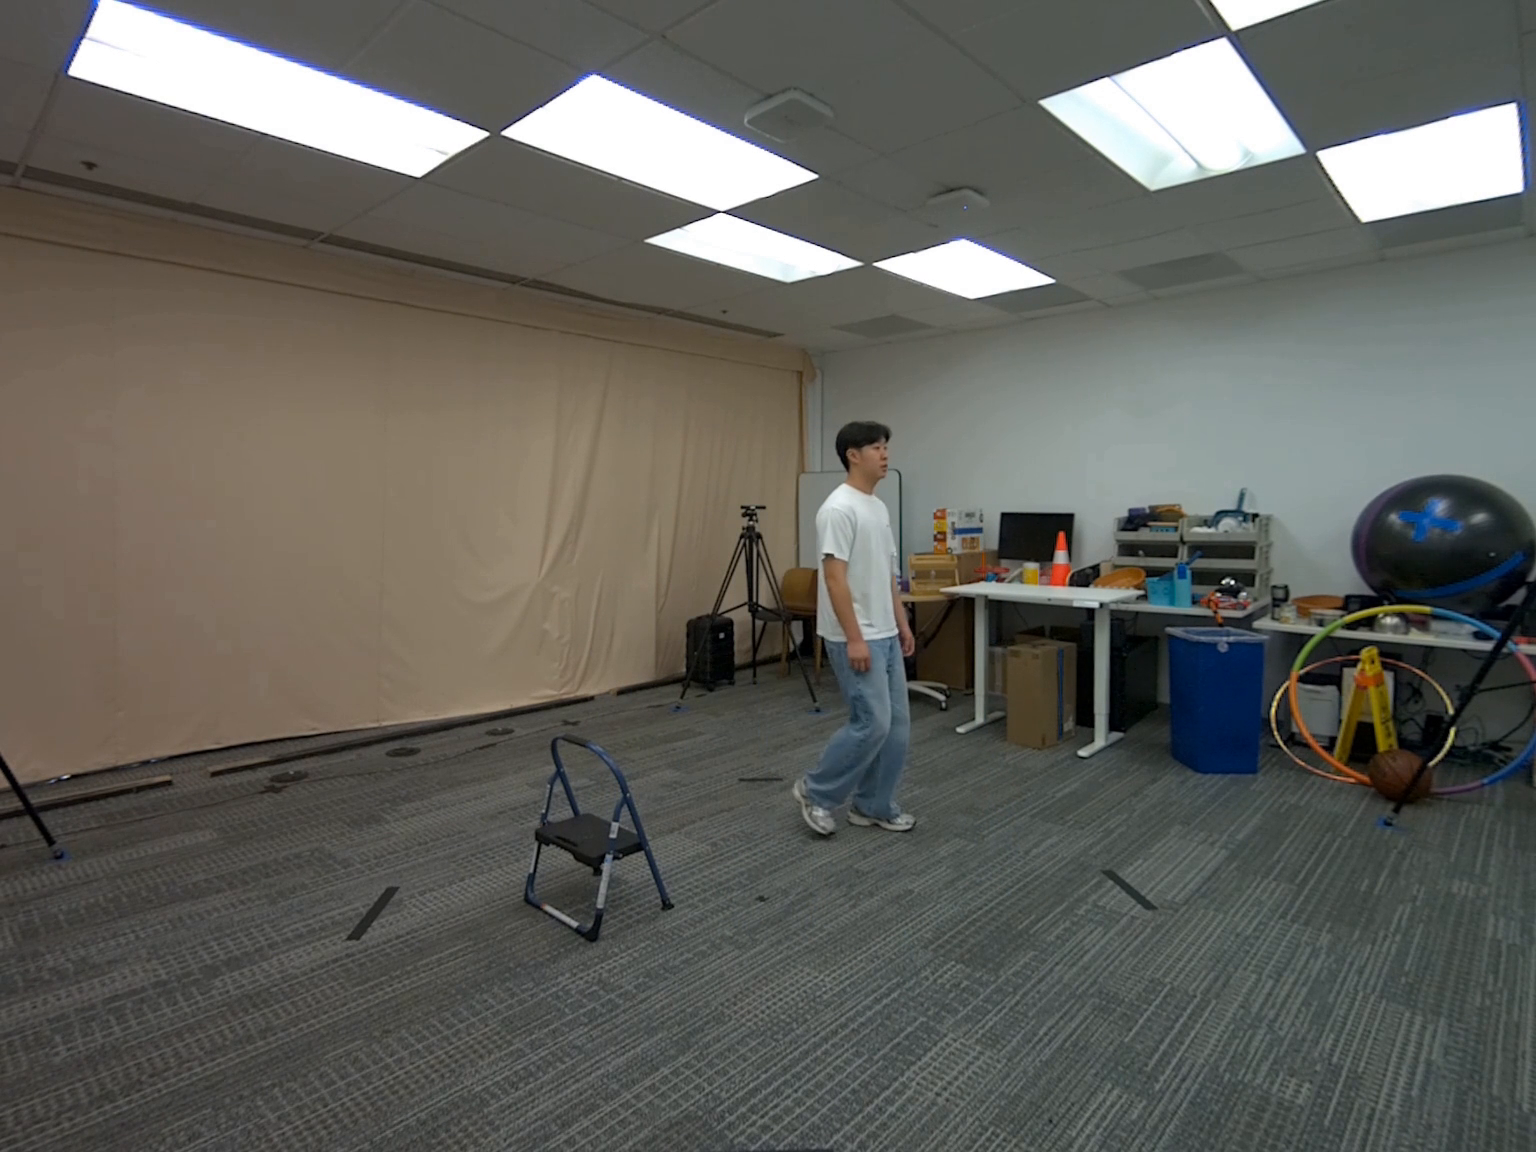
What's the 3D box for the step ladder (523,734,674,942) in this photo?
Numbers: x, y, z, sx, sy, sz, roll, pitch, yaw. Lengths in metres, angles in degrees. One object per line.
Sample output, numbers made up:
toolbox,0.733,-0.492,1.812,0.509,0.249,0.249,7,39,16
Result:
step ladder,-0.600,0.847,2.936,0.445,0.605,0.338,2,4,43
